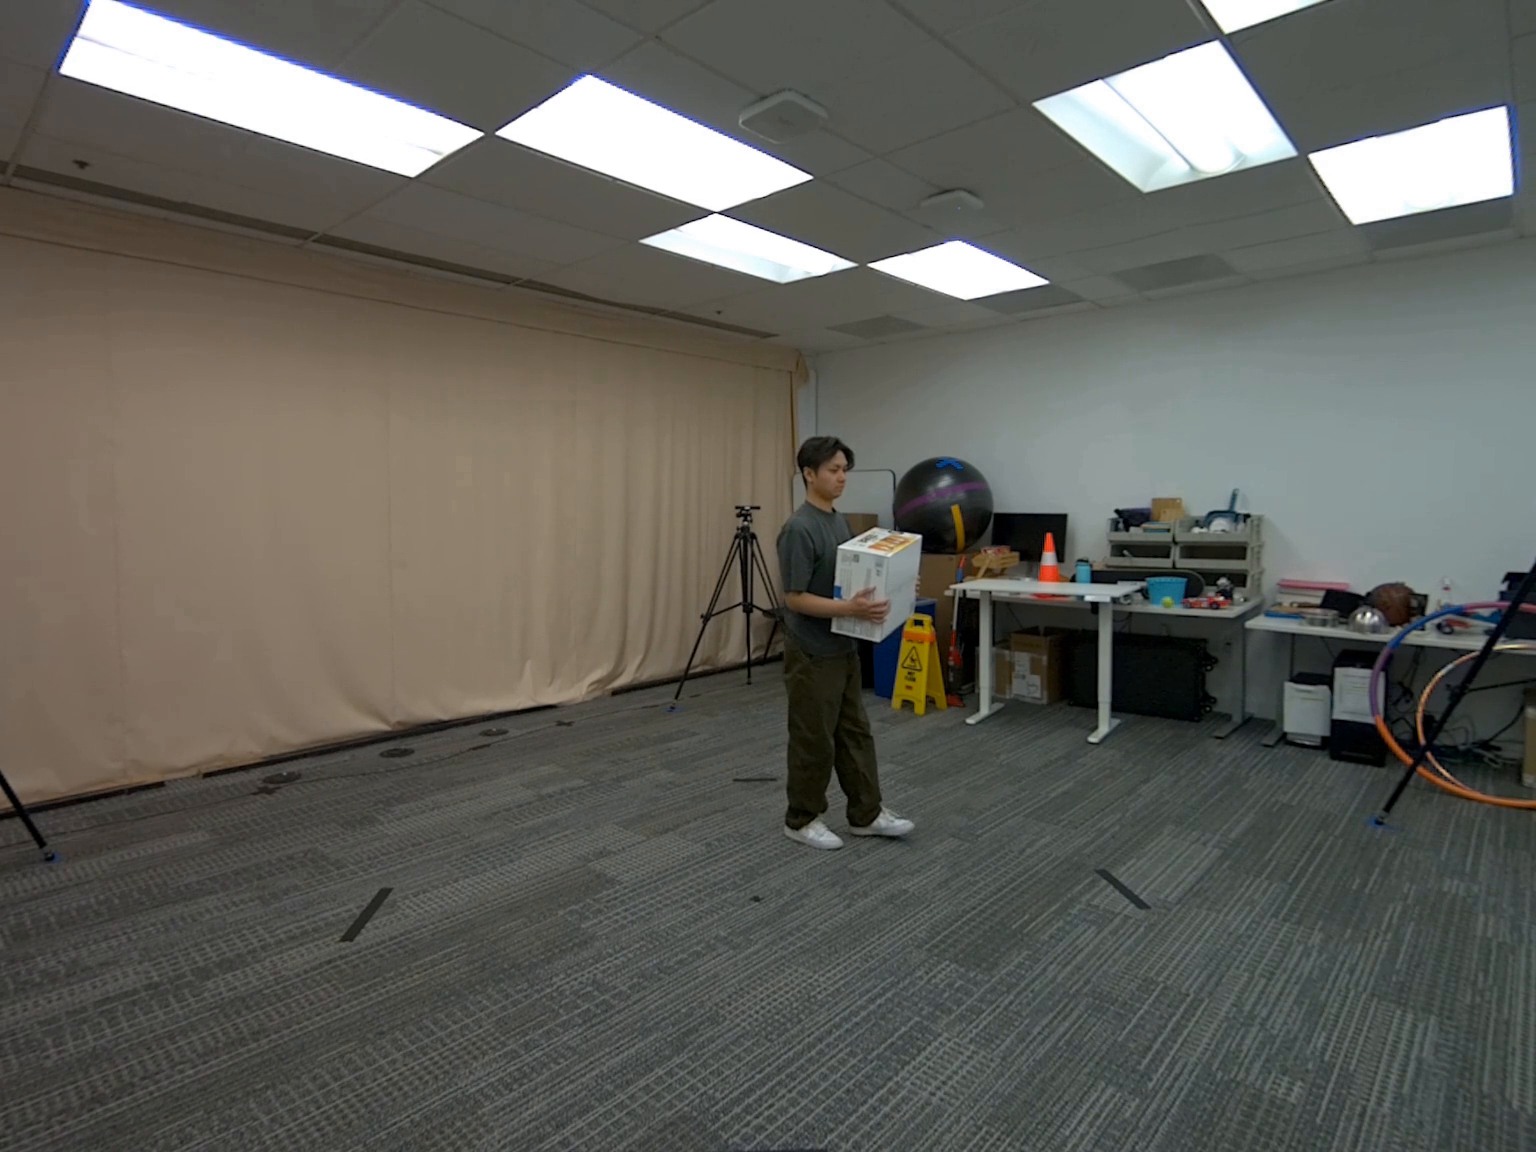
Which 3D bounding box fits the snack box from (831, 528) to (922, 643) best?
[{"bbox_3d":[0.436,0.026,3.321,0.212,0.337,0.397,10,18,27],"label":"snack box"}]
